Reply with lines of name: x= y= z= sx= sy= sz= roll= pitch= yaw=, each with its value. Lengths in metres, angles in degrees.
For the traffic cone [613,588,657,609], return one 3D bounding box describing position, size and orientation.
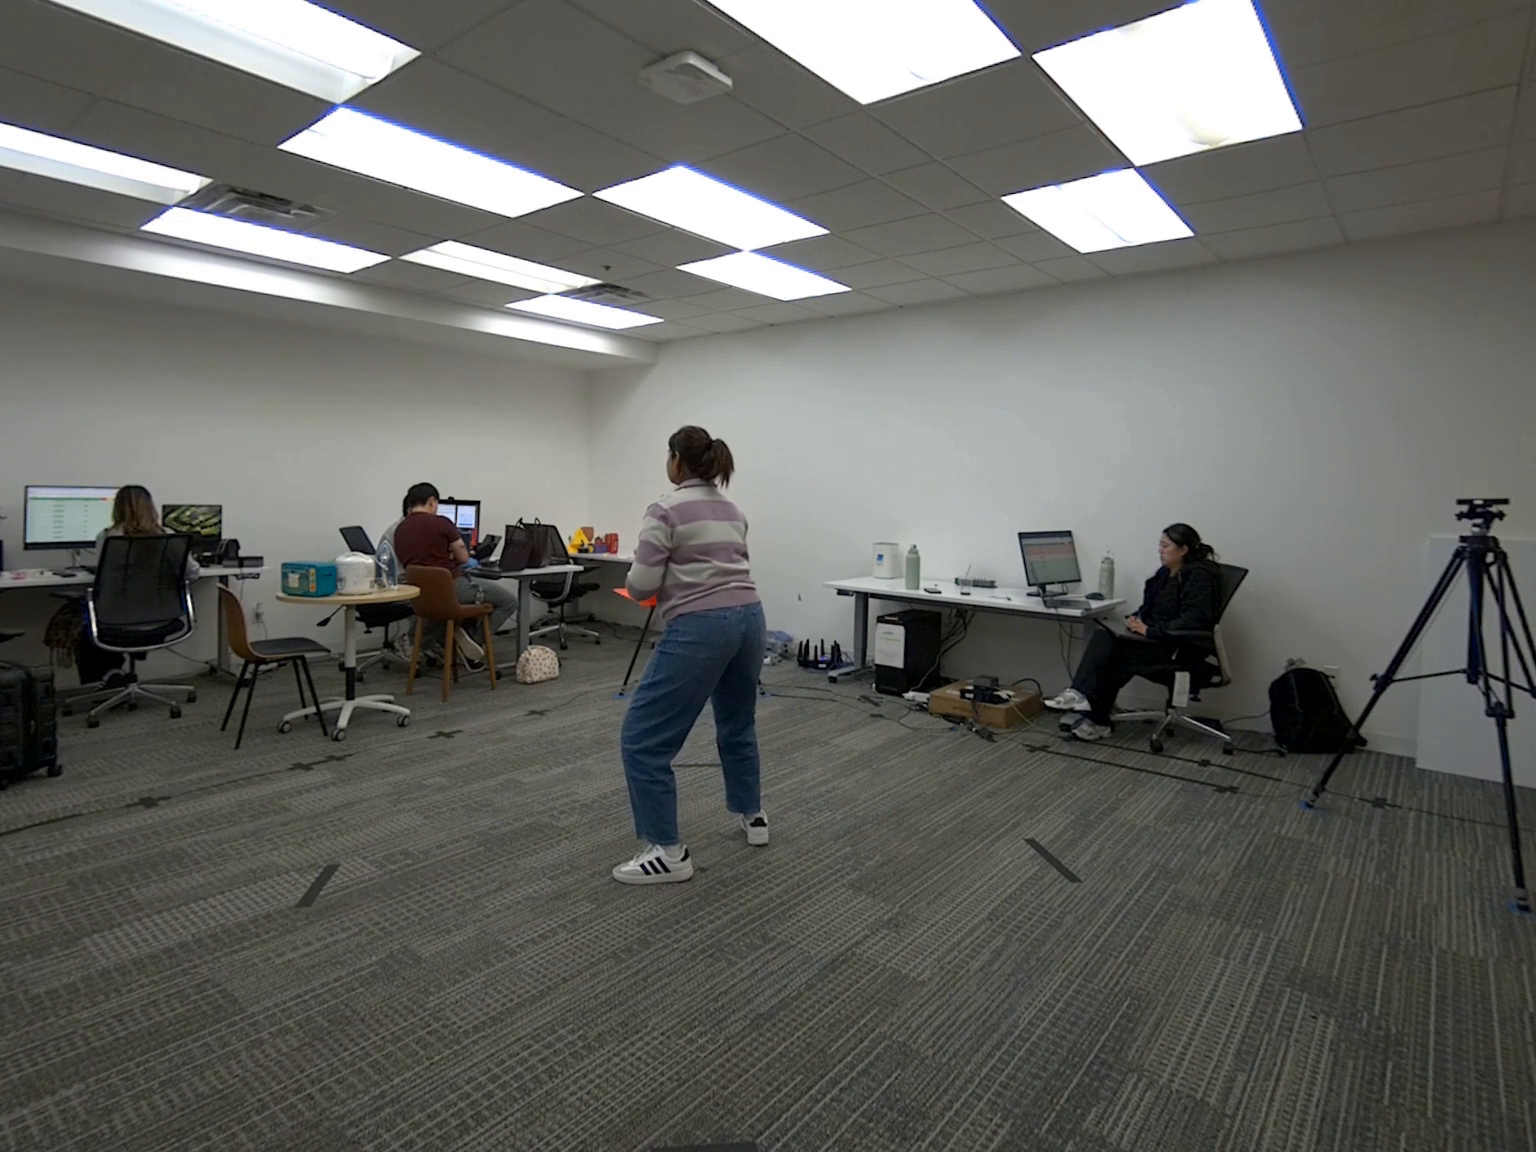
traffic cone: x=-0.455 y=-0.096 z=3.395 sx=0.208 sy=0.381 sz=0.202 roll=15 pitch=11 yaw=17
